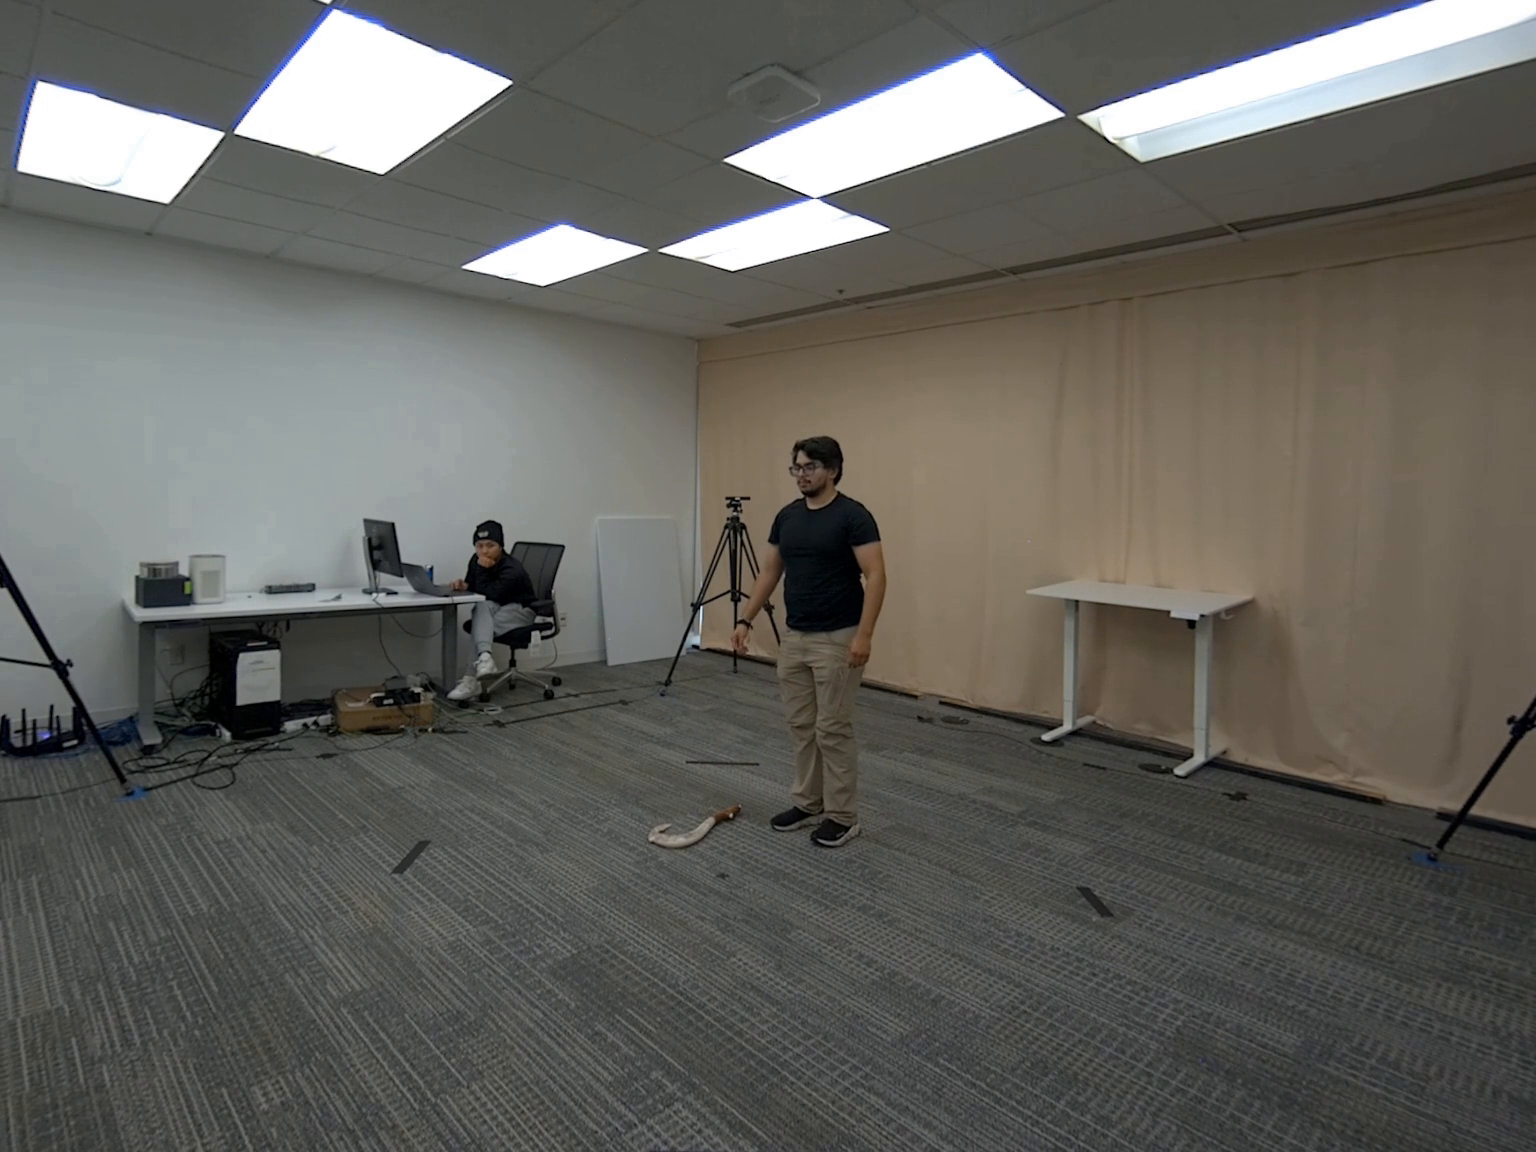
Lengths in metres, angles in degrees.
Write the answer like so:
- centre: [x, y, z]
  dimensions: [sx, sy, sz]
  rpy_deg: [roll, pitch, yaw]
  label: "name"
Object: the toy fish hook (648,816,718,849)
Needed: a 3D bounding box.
- centre: [-0.313, 1.042, 3.557]
  dimensions: [0.230, 0.048, 0.496]
  rpy_deg: [6, 6, 33]
  label: "toy fish hook"
